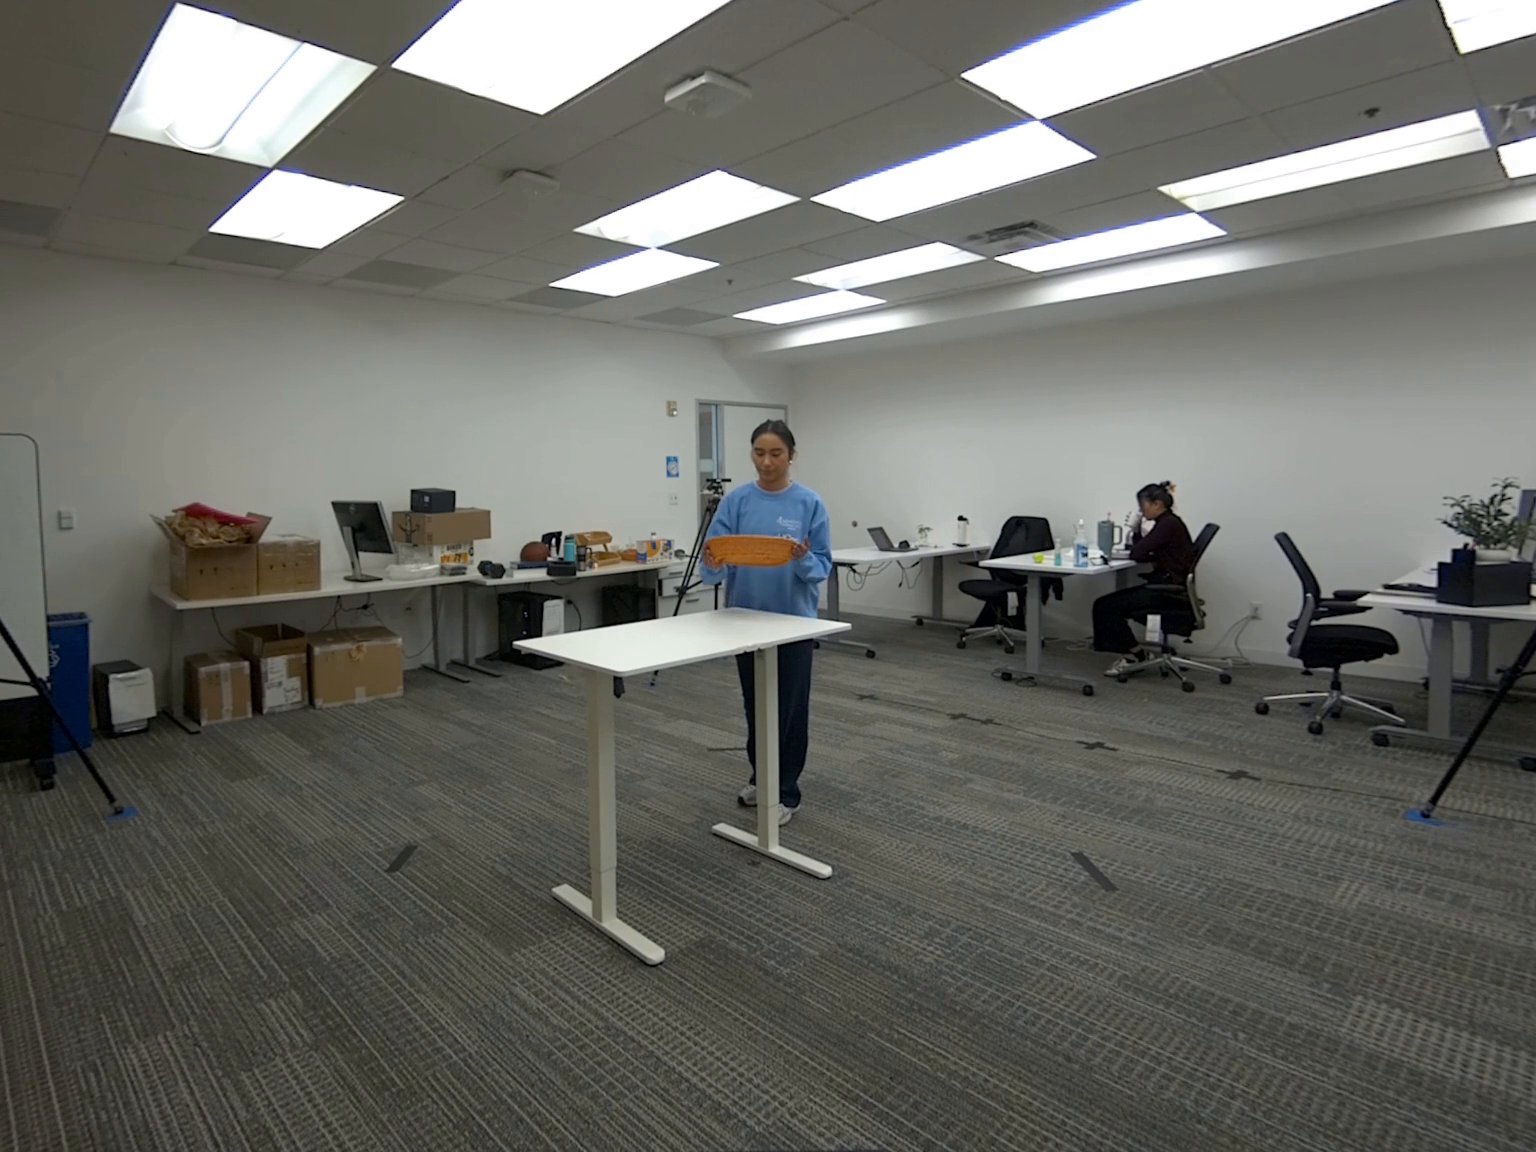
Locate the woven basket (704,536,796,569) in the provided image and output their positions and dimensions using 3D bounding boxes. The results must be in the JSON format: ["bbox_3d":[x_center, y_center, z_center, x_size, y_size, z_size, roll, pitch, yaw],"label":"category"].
[{"bbox_3d":[-0.064,-0.085,3.177,0.345,0.074,0.253,4,-11,-14],"label":"woven basket"}]
